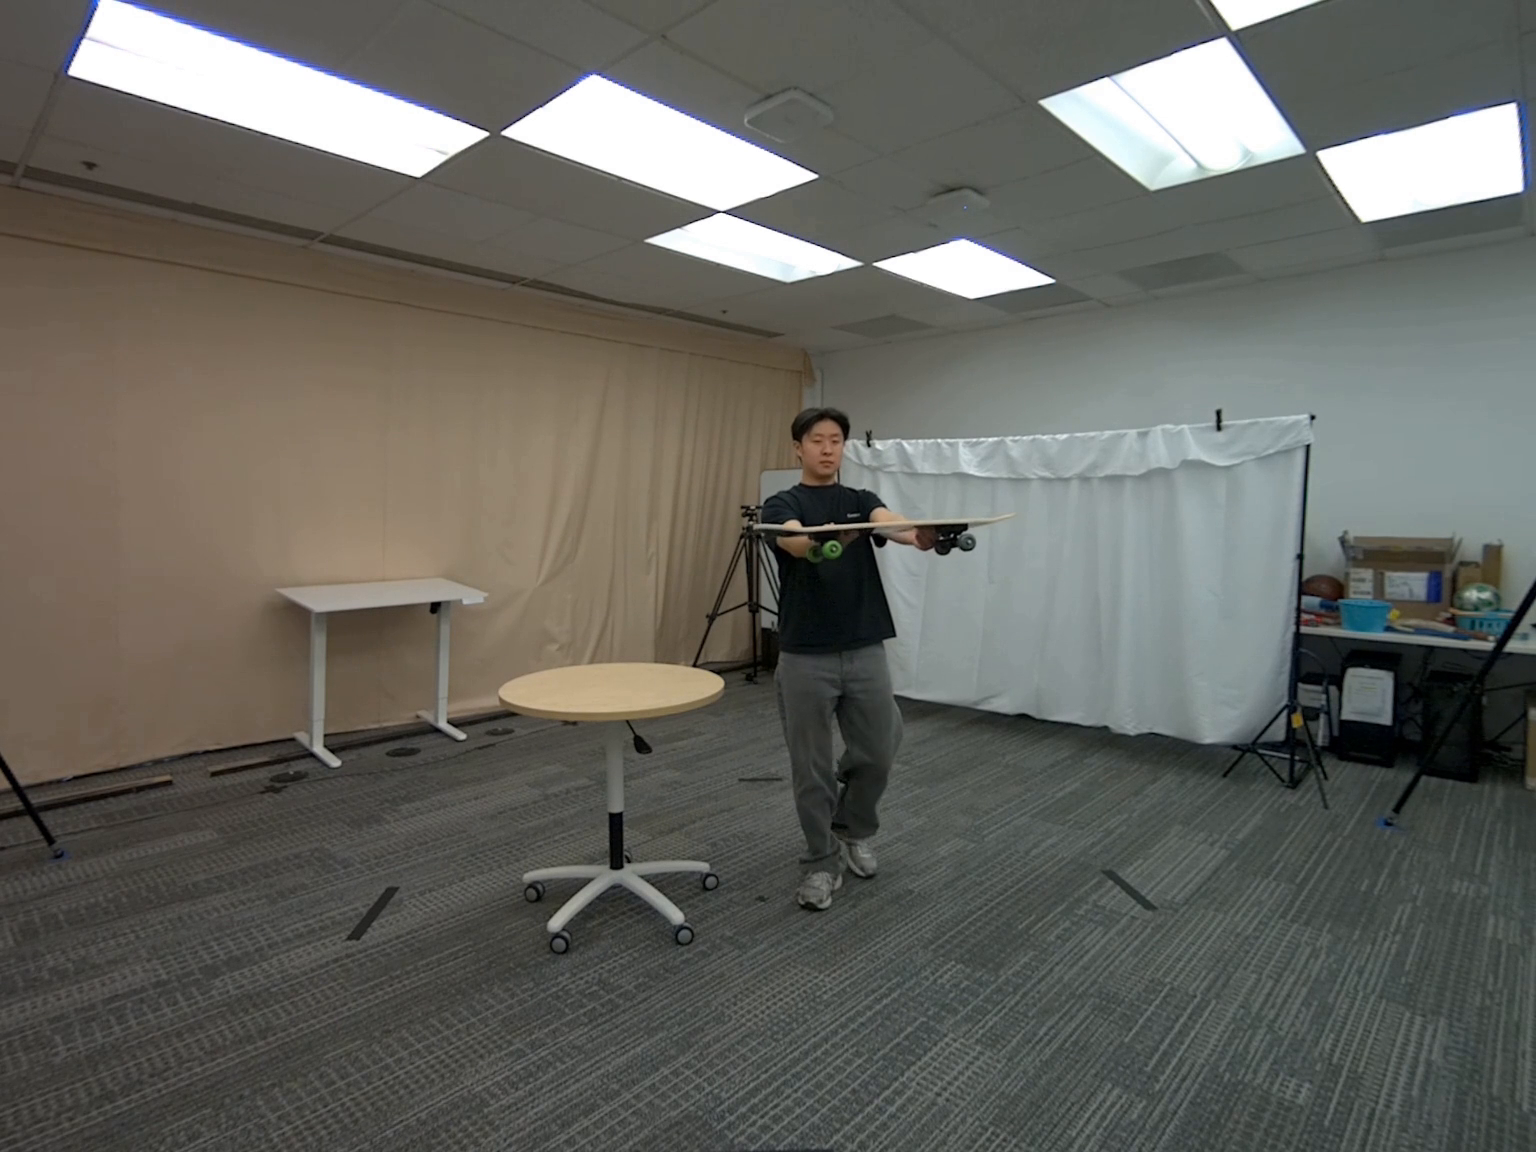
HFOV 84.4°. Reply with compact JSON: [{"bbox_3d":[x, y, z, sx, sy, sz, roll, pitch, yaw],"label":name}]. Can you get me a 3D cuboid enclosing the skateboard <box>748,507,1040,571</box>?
[{"bbox_3d":[0.352,-0.105,2.406,0.777,0.110,0.195,-5,-1,-11],"label":"skateboard"}]
